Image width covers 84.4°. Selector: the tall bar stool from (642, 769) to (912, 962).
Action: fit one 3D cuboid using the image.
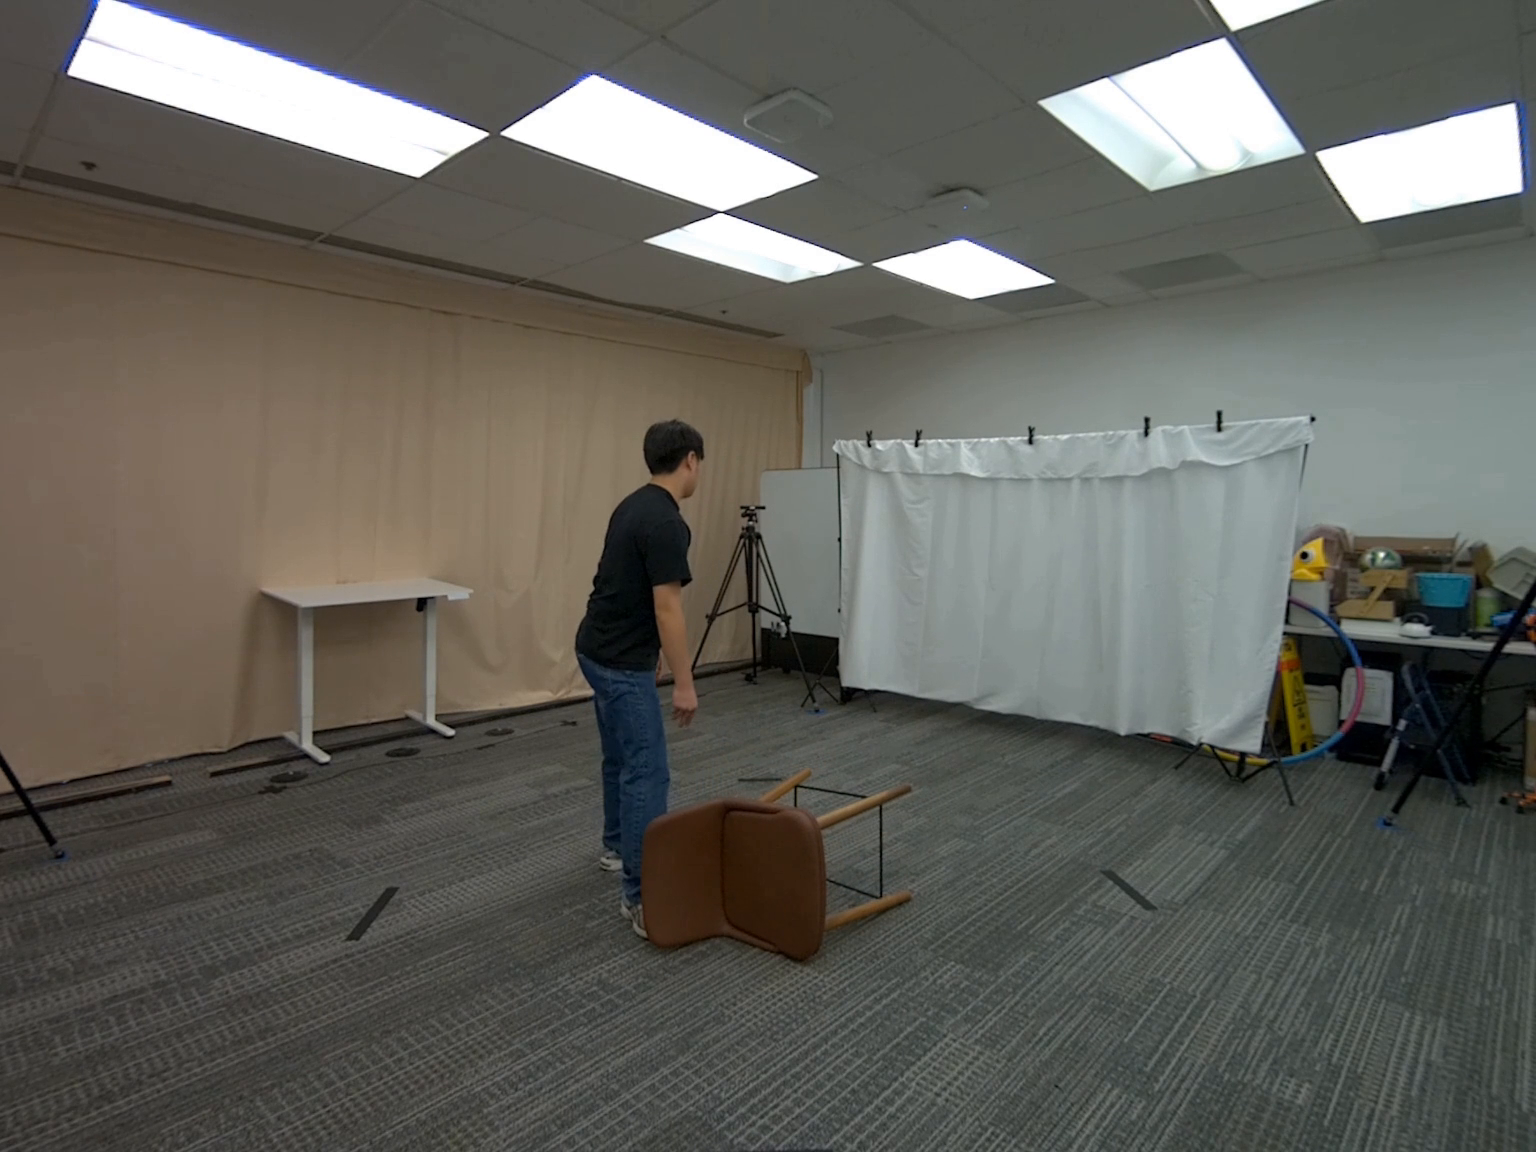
[{"bbox_3d":[0.064,0.941,2.786,0.483,0.456,0.862,2,2,40],"label":"tall bar stool"}]
